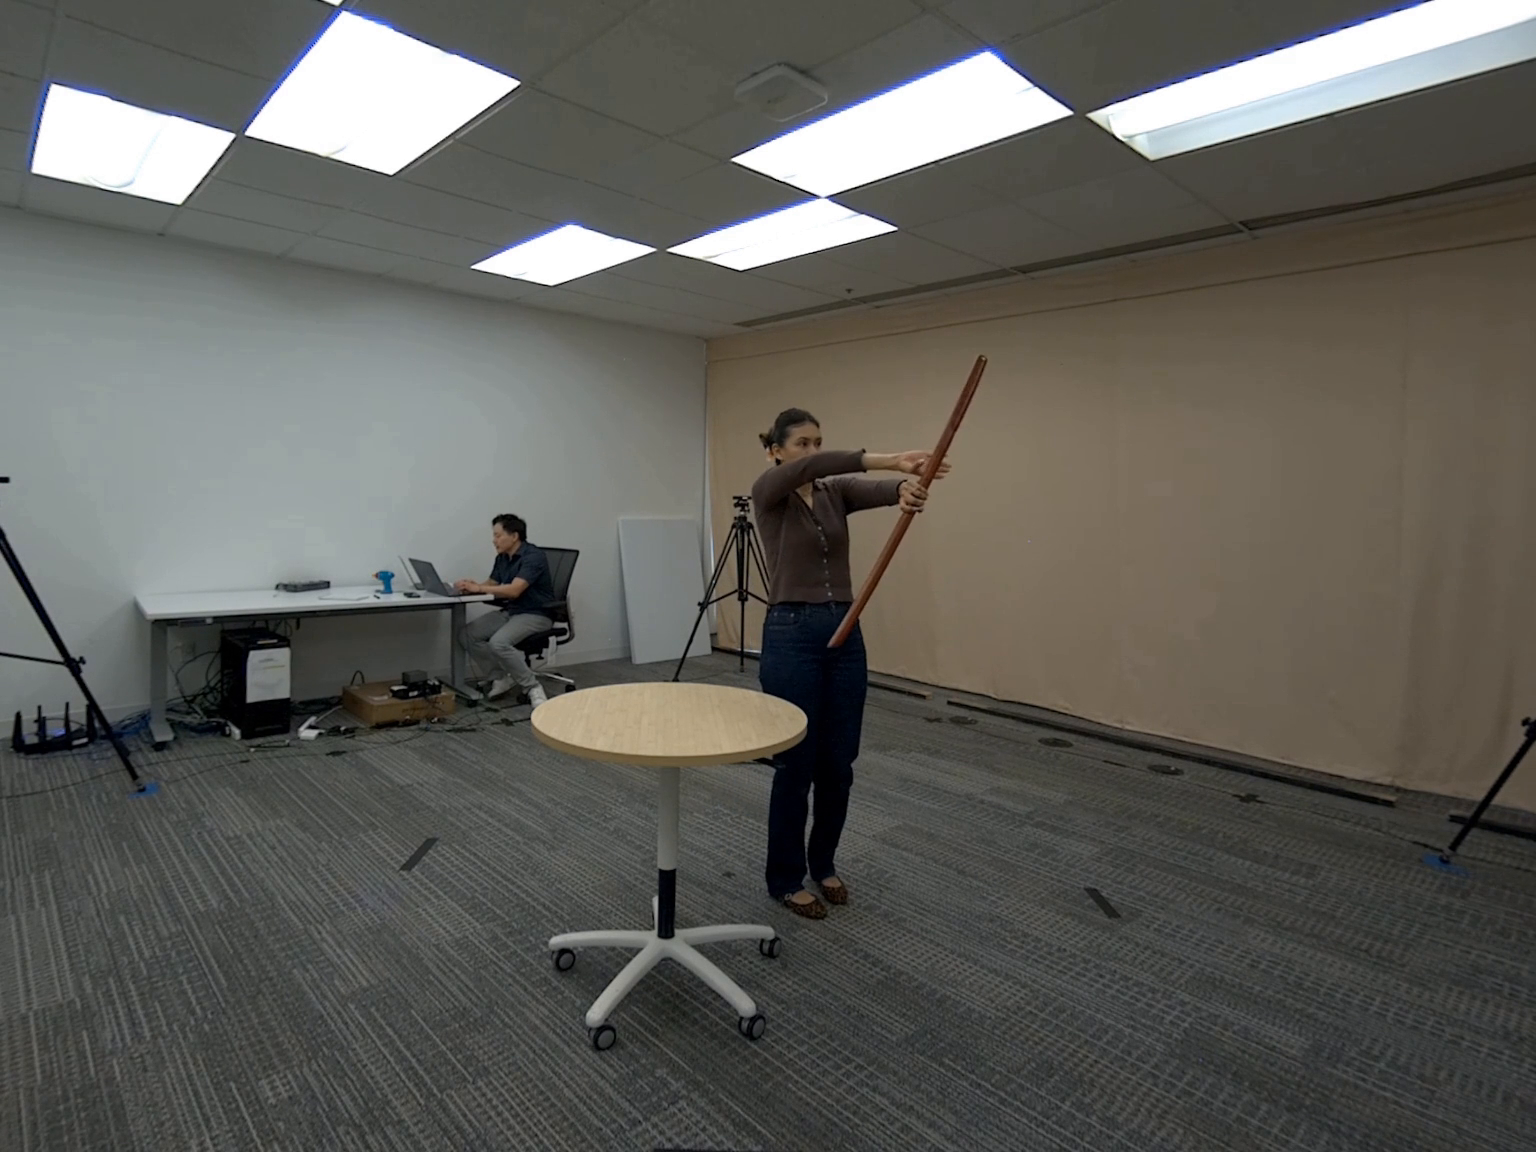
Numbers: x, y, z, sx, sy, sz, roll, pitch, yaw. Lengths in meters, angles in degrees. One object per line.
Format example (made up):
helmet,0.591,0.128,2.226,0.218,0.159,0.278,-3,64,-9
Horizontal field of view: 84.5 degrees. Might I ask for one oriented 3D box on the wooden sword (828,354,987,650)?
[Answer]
wooden sword,0.428,-0.236,2.395,0.025,1.029,0.050,12,-25,41
